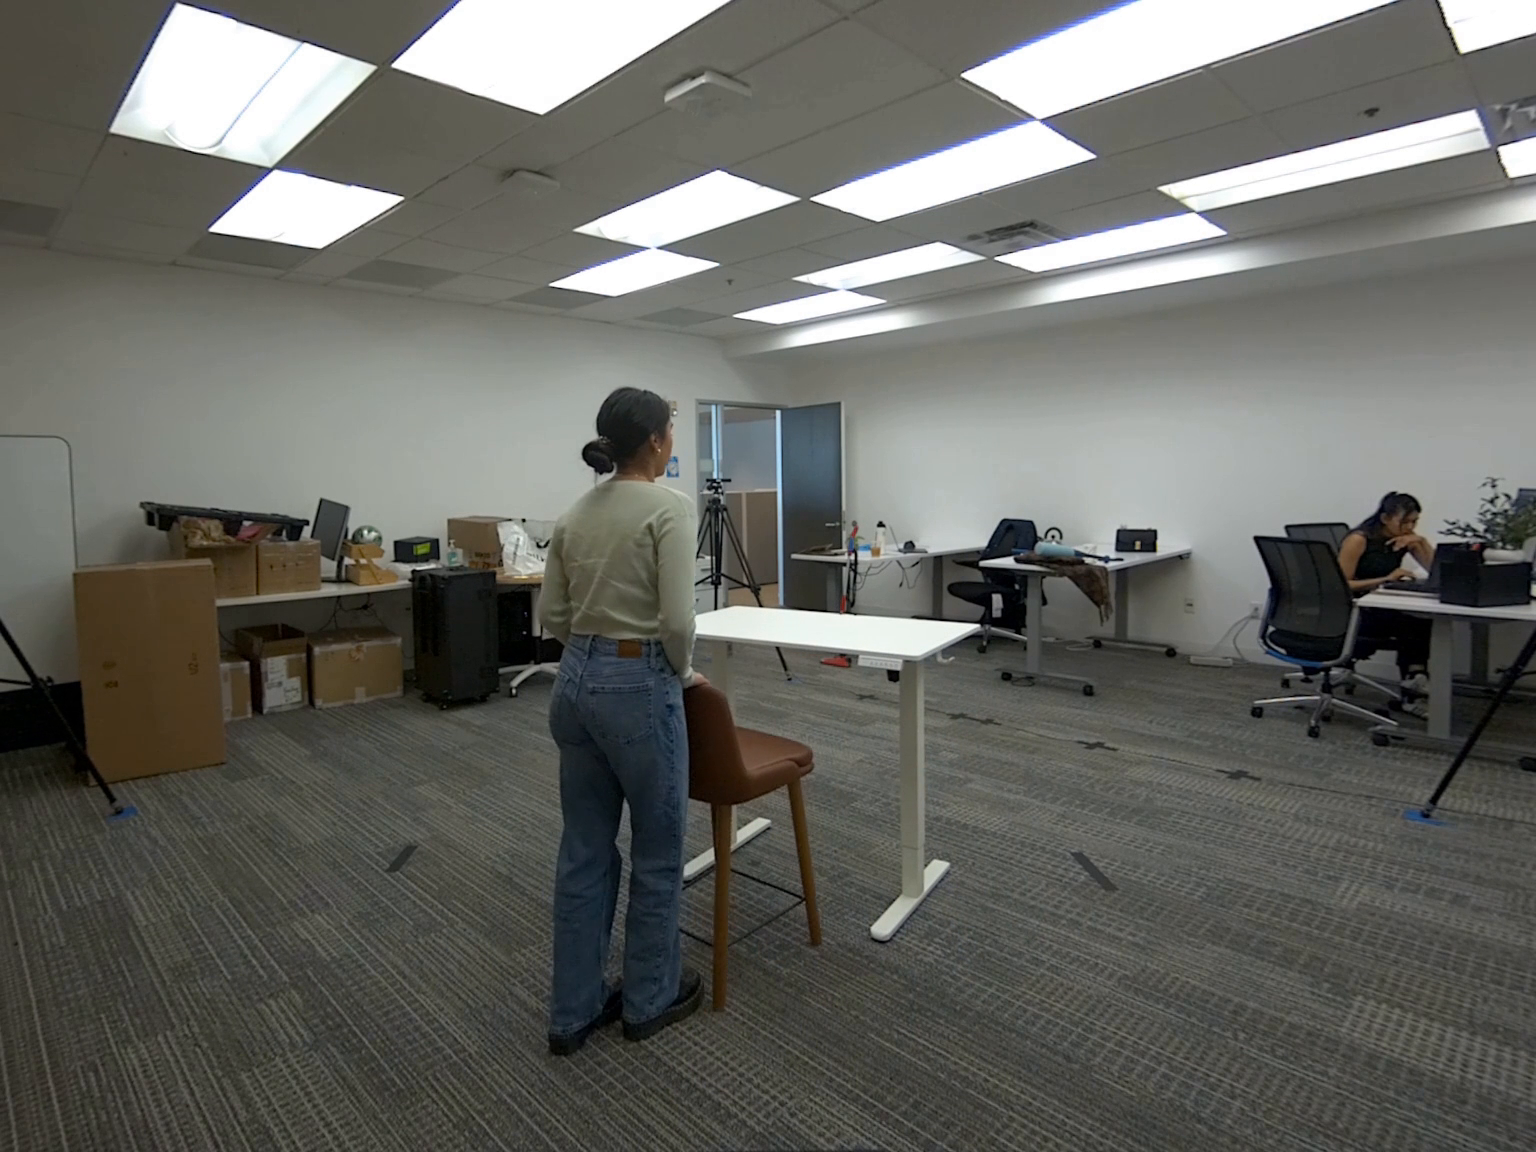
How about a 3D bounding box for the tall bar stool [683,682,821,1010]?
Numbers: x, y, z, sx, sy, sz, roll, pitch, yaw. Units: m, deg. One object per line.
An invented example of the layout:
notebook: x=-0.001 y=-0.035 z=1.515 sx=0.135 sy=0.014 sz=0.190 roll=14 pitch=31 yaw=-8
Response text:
tall bar stool: x=-0.138 y=0.674 z=2.499 sx=0.470 sy=0.884 sz=0.456 roll=4 pitch=9 yaw=41
